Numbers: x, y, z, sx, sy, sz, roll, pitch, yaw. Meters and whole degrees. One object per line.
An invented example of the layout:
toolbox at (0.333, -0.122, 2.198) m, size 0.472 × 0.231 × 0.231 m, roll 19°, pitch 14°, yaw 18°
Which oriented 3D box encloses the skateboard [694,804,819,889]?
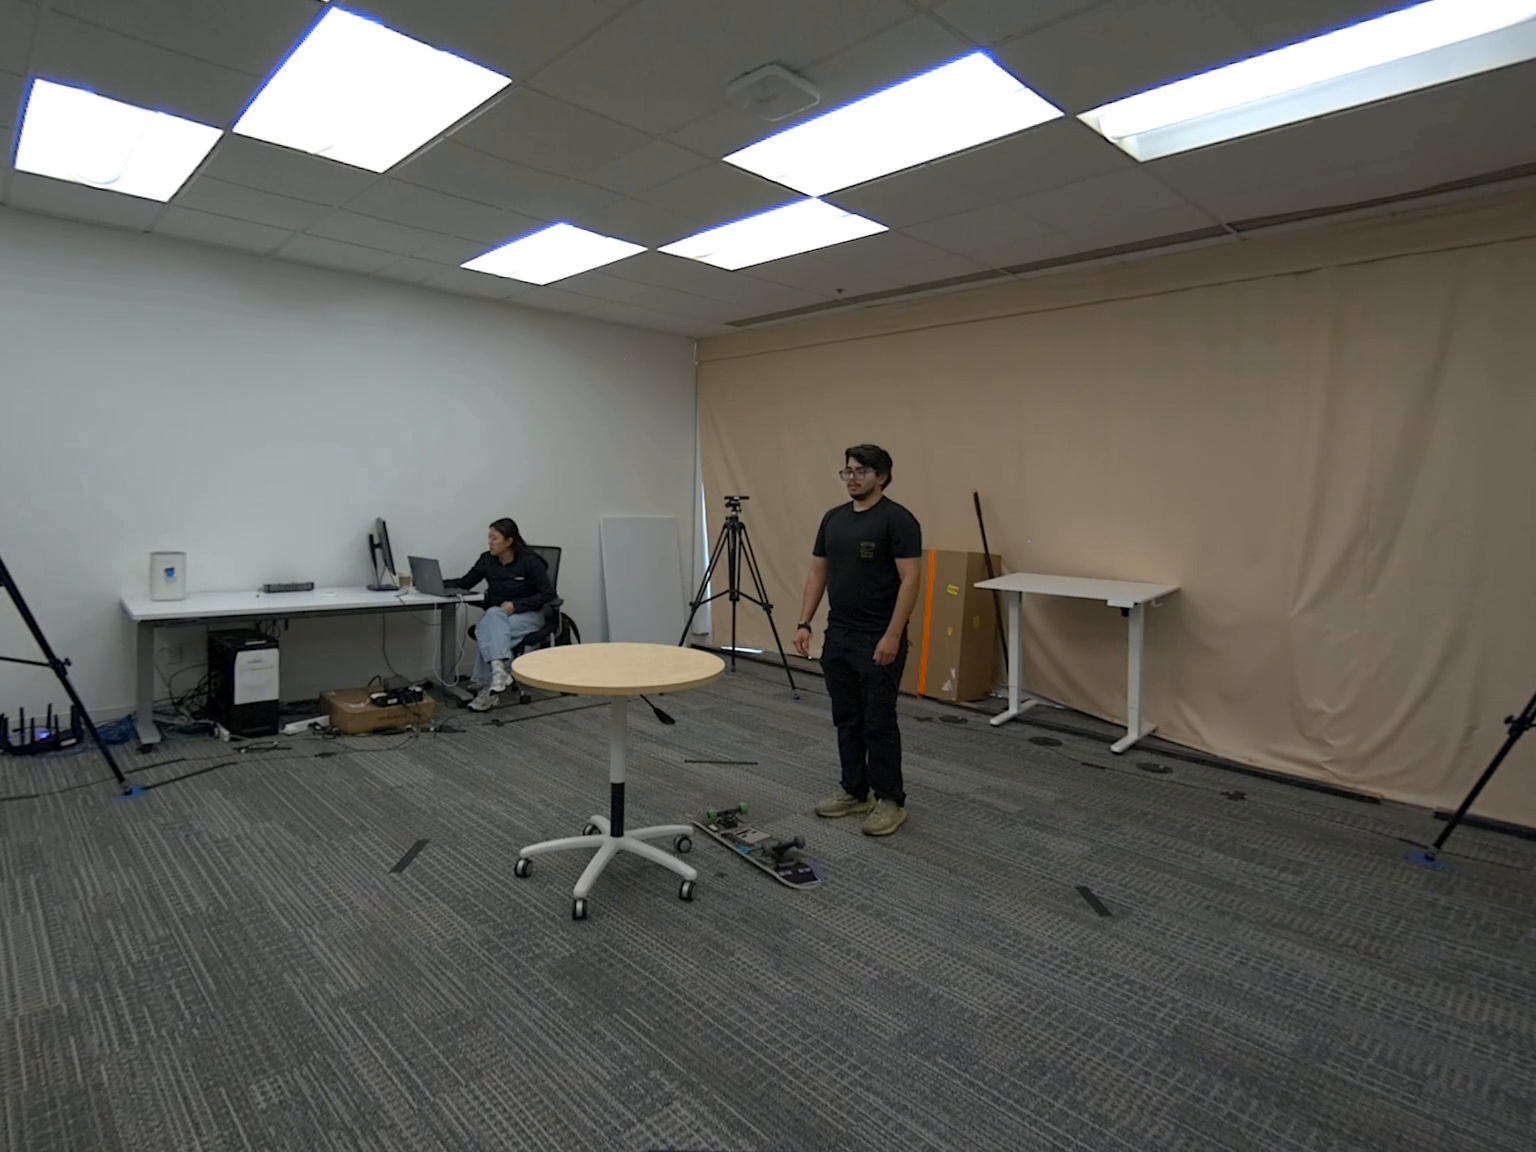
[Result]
skateboard at (-0.066, 1.034, 3.345) m, size 0.189 × 0.110 × 0.805 m, roll -1°, pitch 6°, yaw -34°
